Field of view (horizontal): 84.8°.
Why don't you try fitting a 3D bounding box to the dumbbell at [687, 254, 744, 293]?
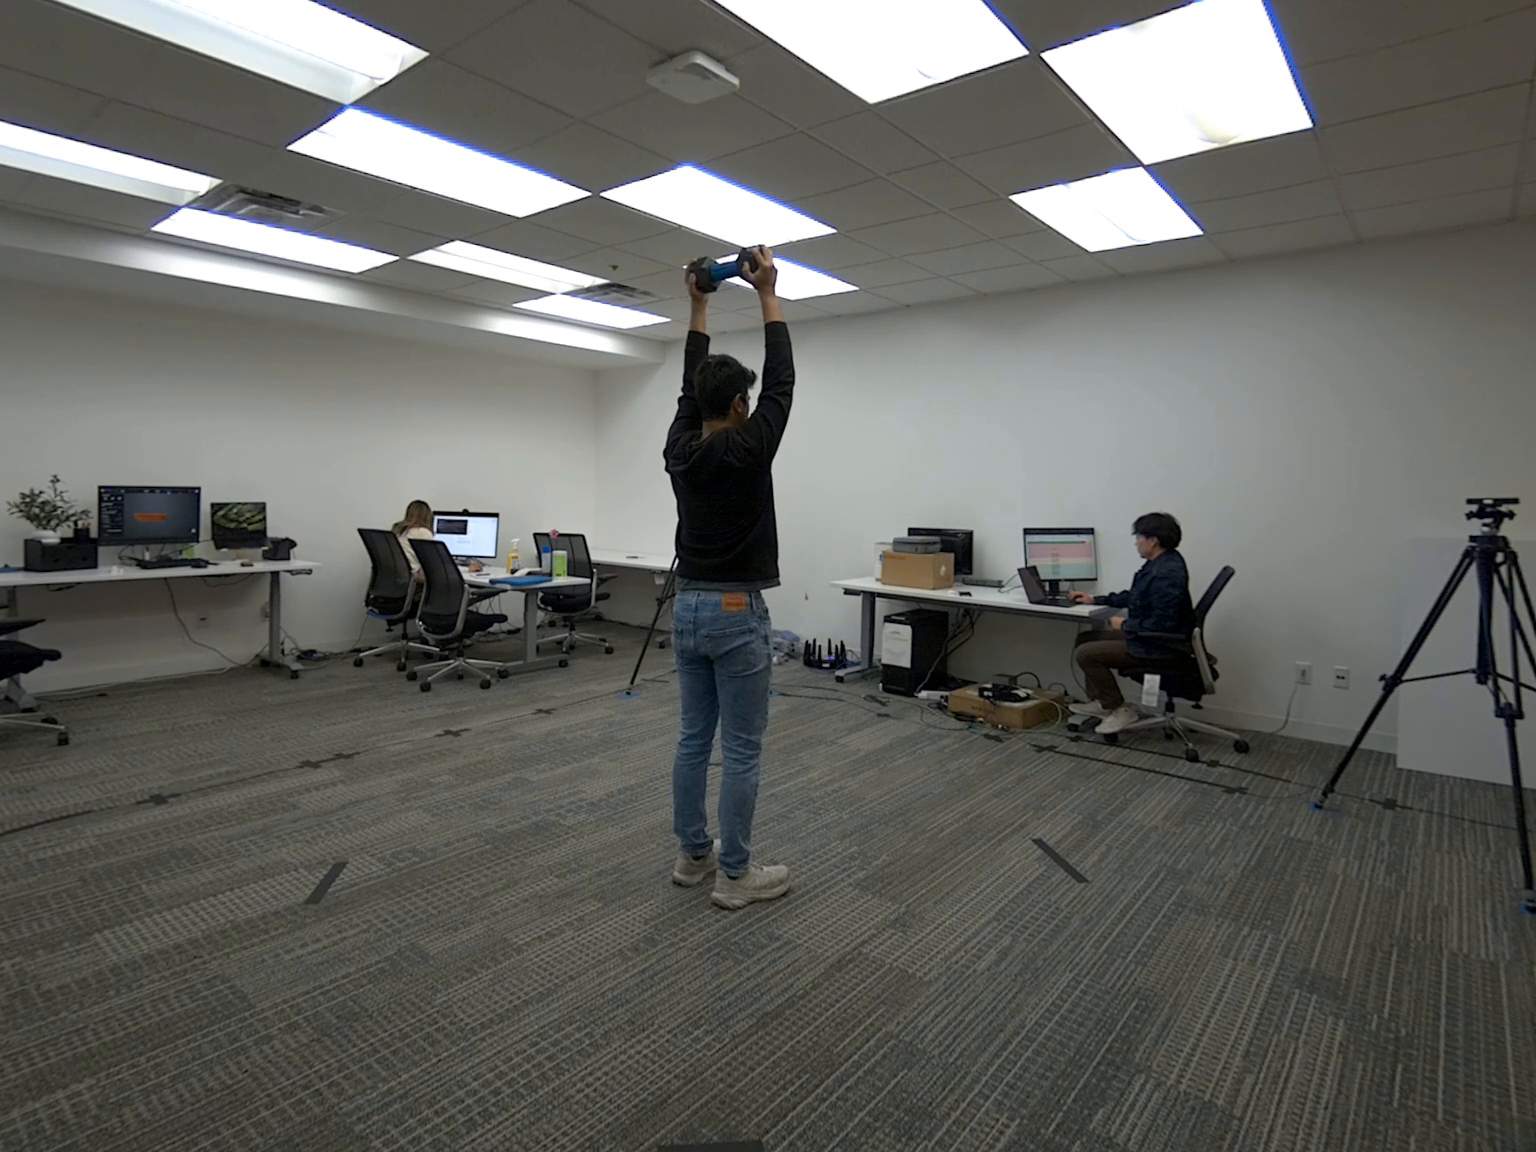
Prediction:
[{"bbox_3d":[-0.144,-1.052,2.937,0.303,0.109,0.118,3,-5,39],"label":"dumbbell"}]
